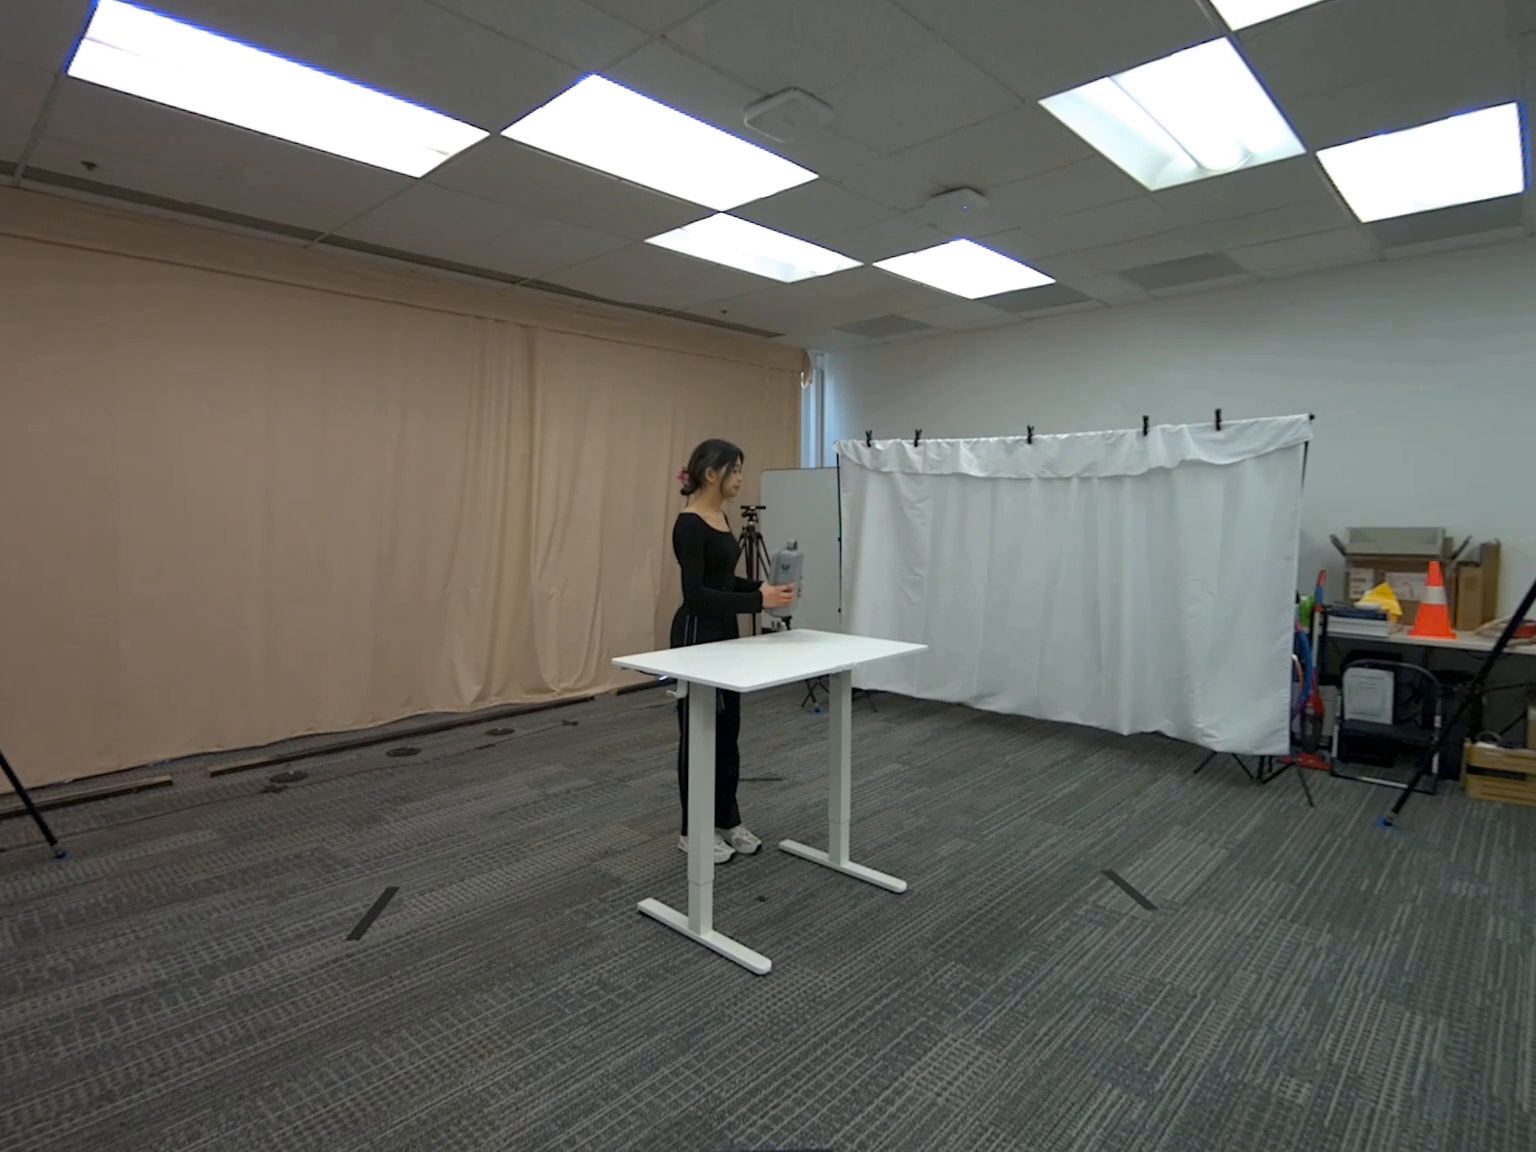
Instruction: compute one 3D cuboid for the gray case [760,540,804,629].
[{"bbox_3d":[0.067,0.019,3.297,0.106,0.260,0.254,10,6,9],"label":"gray case"}]
